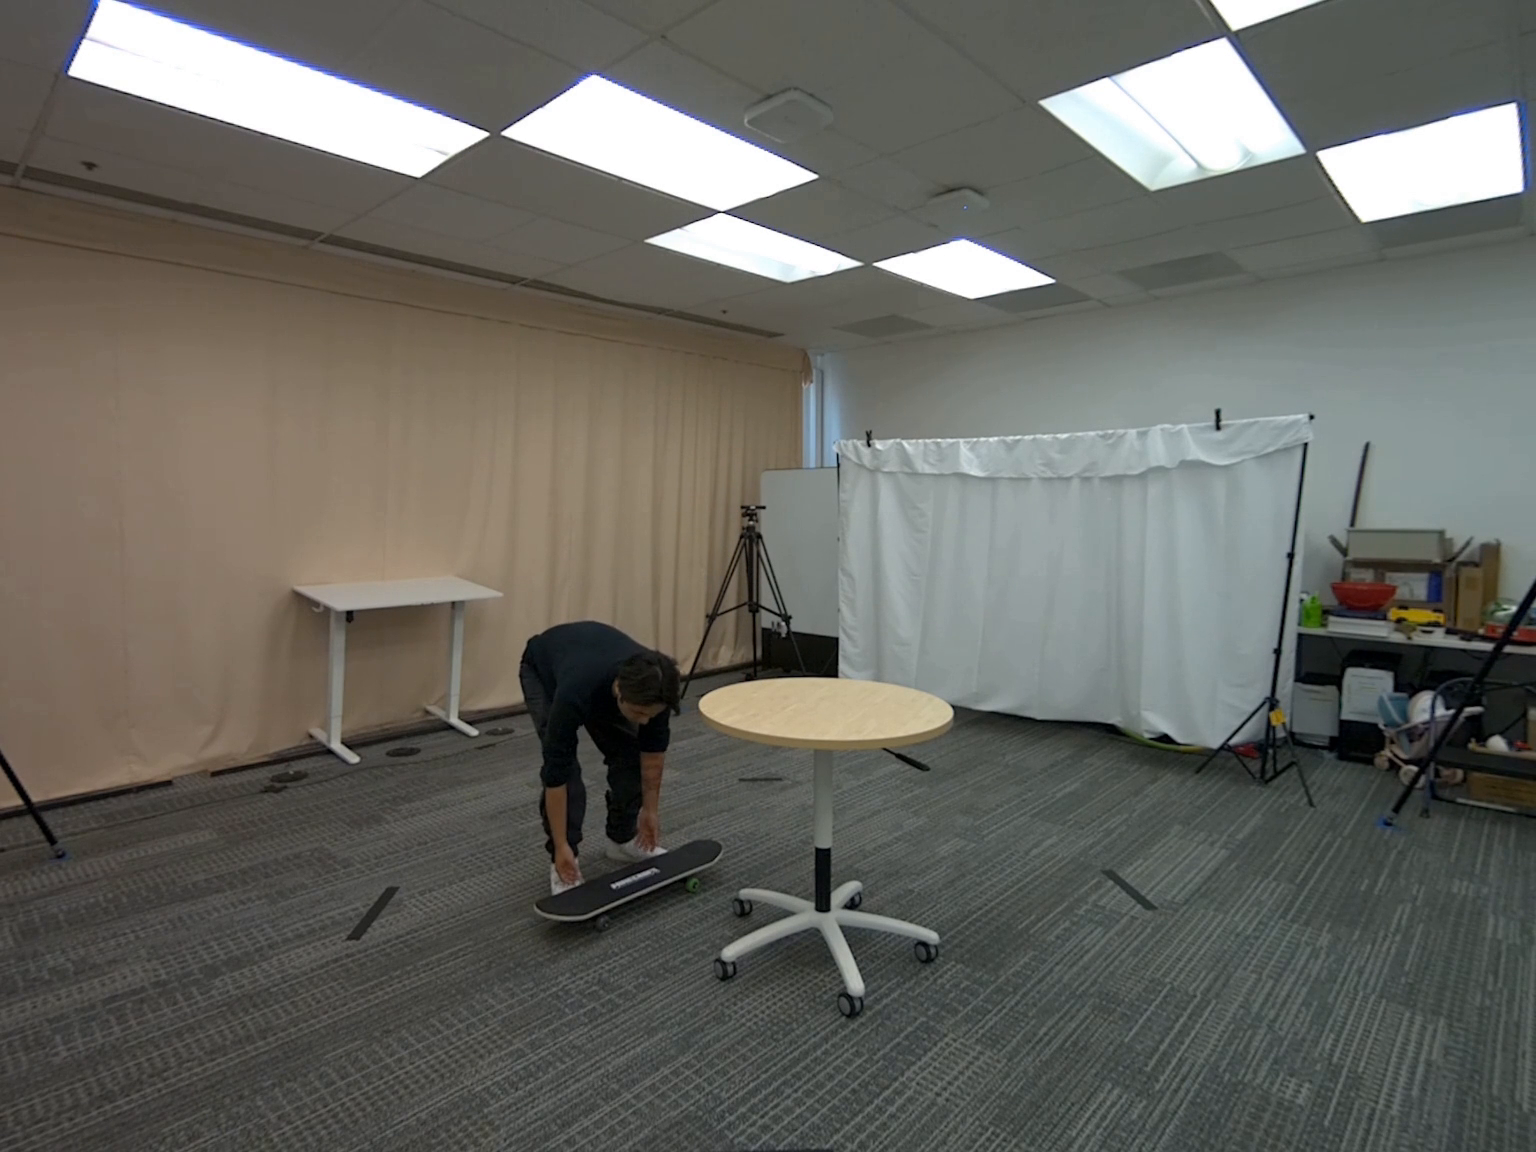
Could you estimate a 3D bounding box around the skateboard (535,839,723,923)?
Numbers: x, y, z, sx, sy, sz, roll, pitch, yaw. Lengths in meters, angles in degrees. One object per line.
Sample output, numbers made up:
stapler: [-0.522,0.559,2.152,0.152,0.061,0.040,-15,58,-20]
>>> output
skateboard: [-0.469,1.088,2.963,0.200,0.110,0.762,4,7,44]
